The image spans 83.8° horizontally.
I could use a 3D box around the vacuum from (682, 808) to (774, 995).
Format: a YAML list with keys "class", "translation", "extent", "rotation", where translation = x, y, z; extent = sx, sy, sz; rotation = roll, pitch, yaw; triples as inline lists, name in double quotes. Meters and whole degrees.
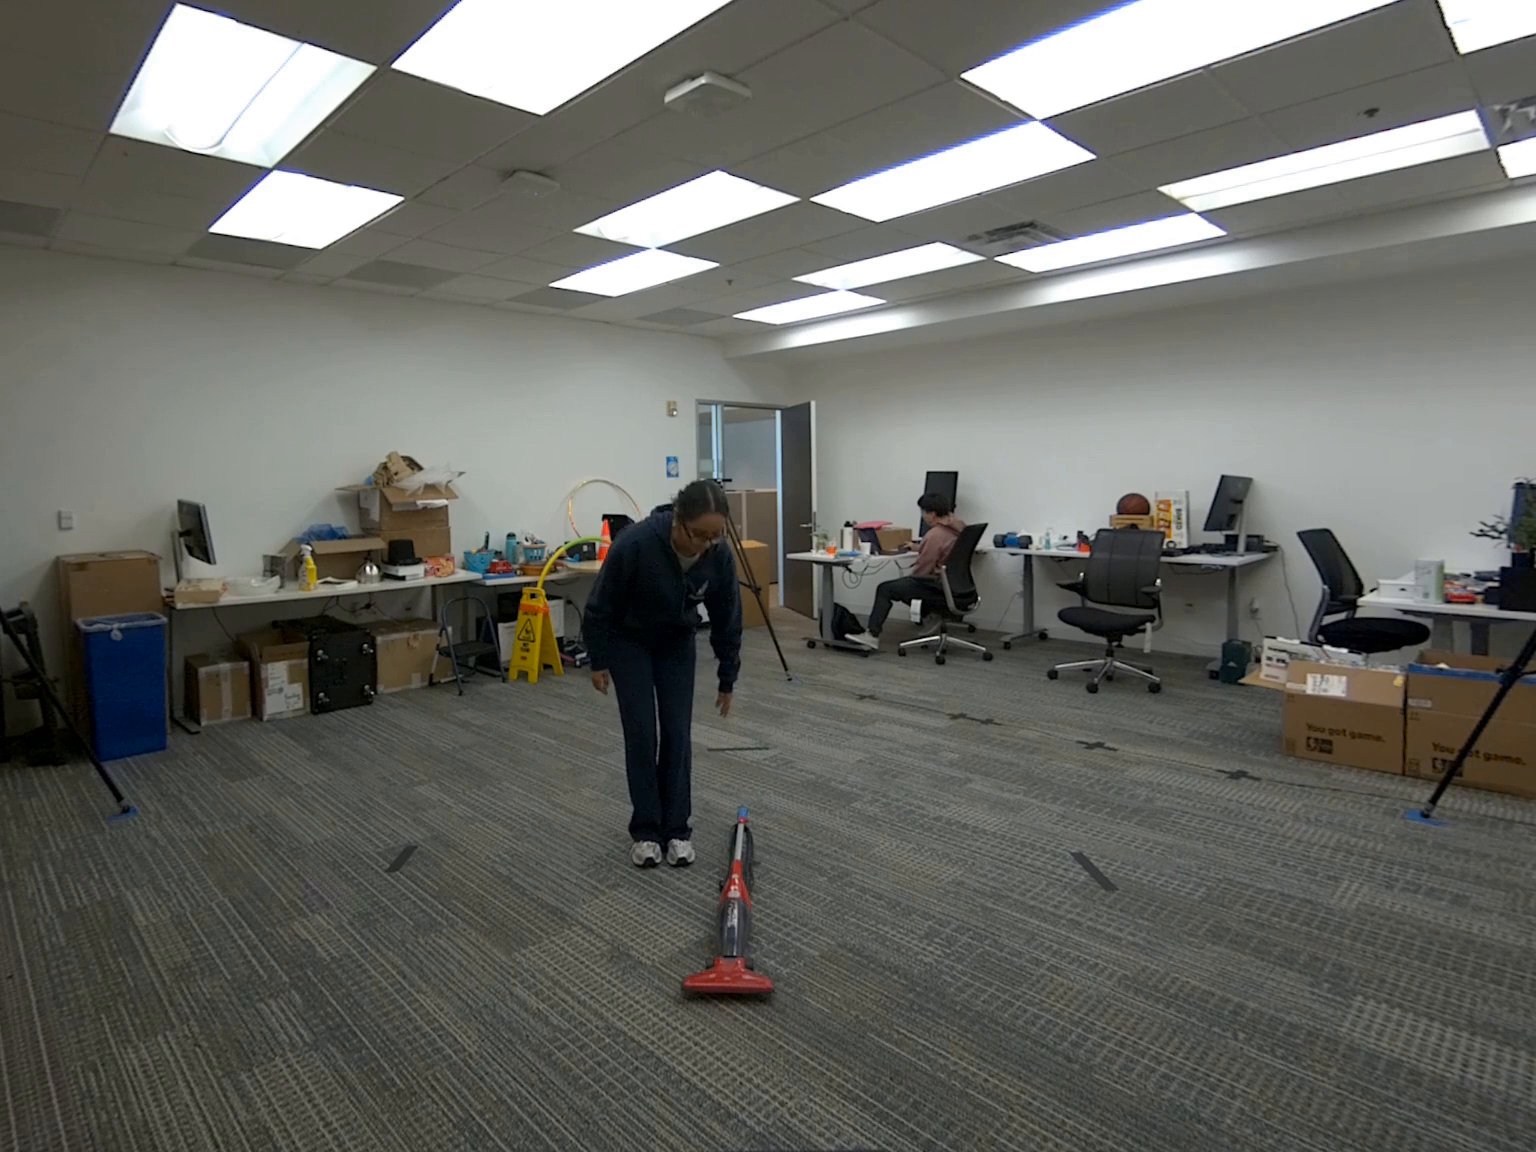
- class: "vacuum"
  translation: [-0.097, 1.010, 2.883]
  extent: [0.253, 0.143, 1.054]
  rotation: [-6, 8, 2]
